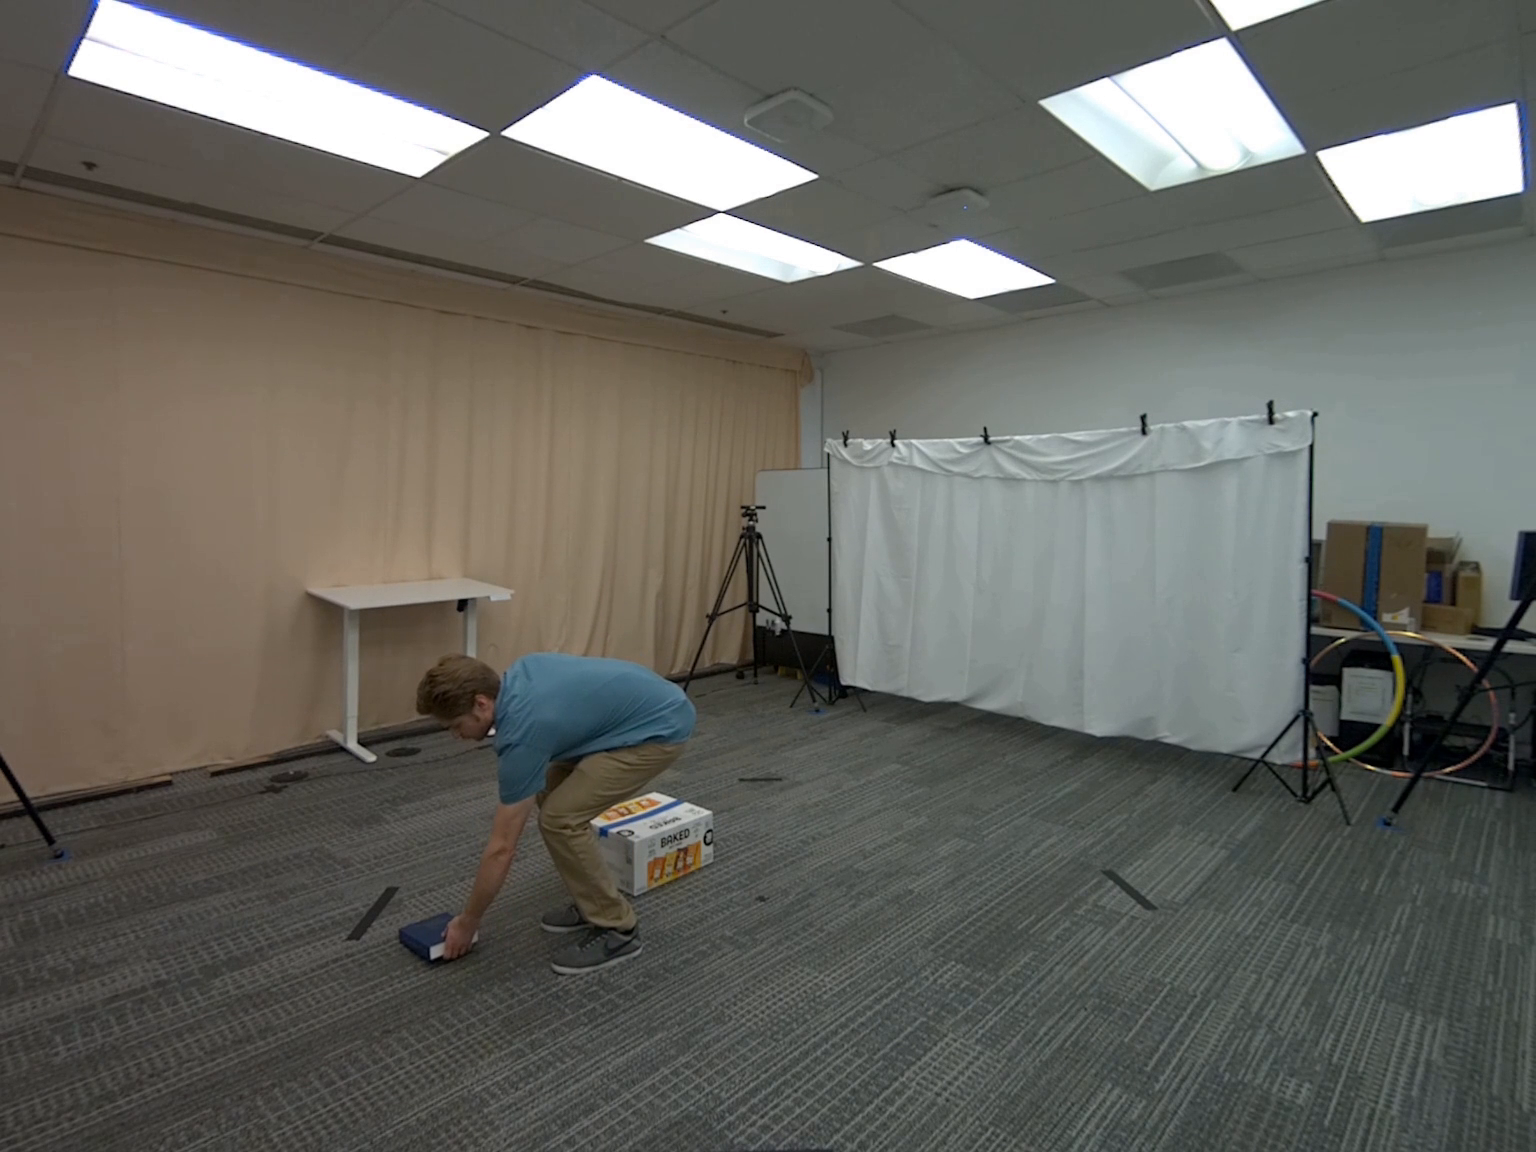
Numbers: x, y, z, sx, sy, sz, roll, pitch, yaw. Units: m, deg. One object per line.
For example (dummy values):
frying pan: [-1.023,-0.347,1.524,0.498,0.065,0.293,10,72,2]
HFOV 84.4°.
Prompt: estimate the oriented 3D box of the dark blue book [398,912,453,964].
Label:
dark blue book: [-1.045,1.147,2.670,0.158,0.045,0.252,-5,-2,-44]
